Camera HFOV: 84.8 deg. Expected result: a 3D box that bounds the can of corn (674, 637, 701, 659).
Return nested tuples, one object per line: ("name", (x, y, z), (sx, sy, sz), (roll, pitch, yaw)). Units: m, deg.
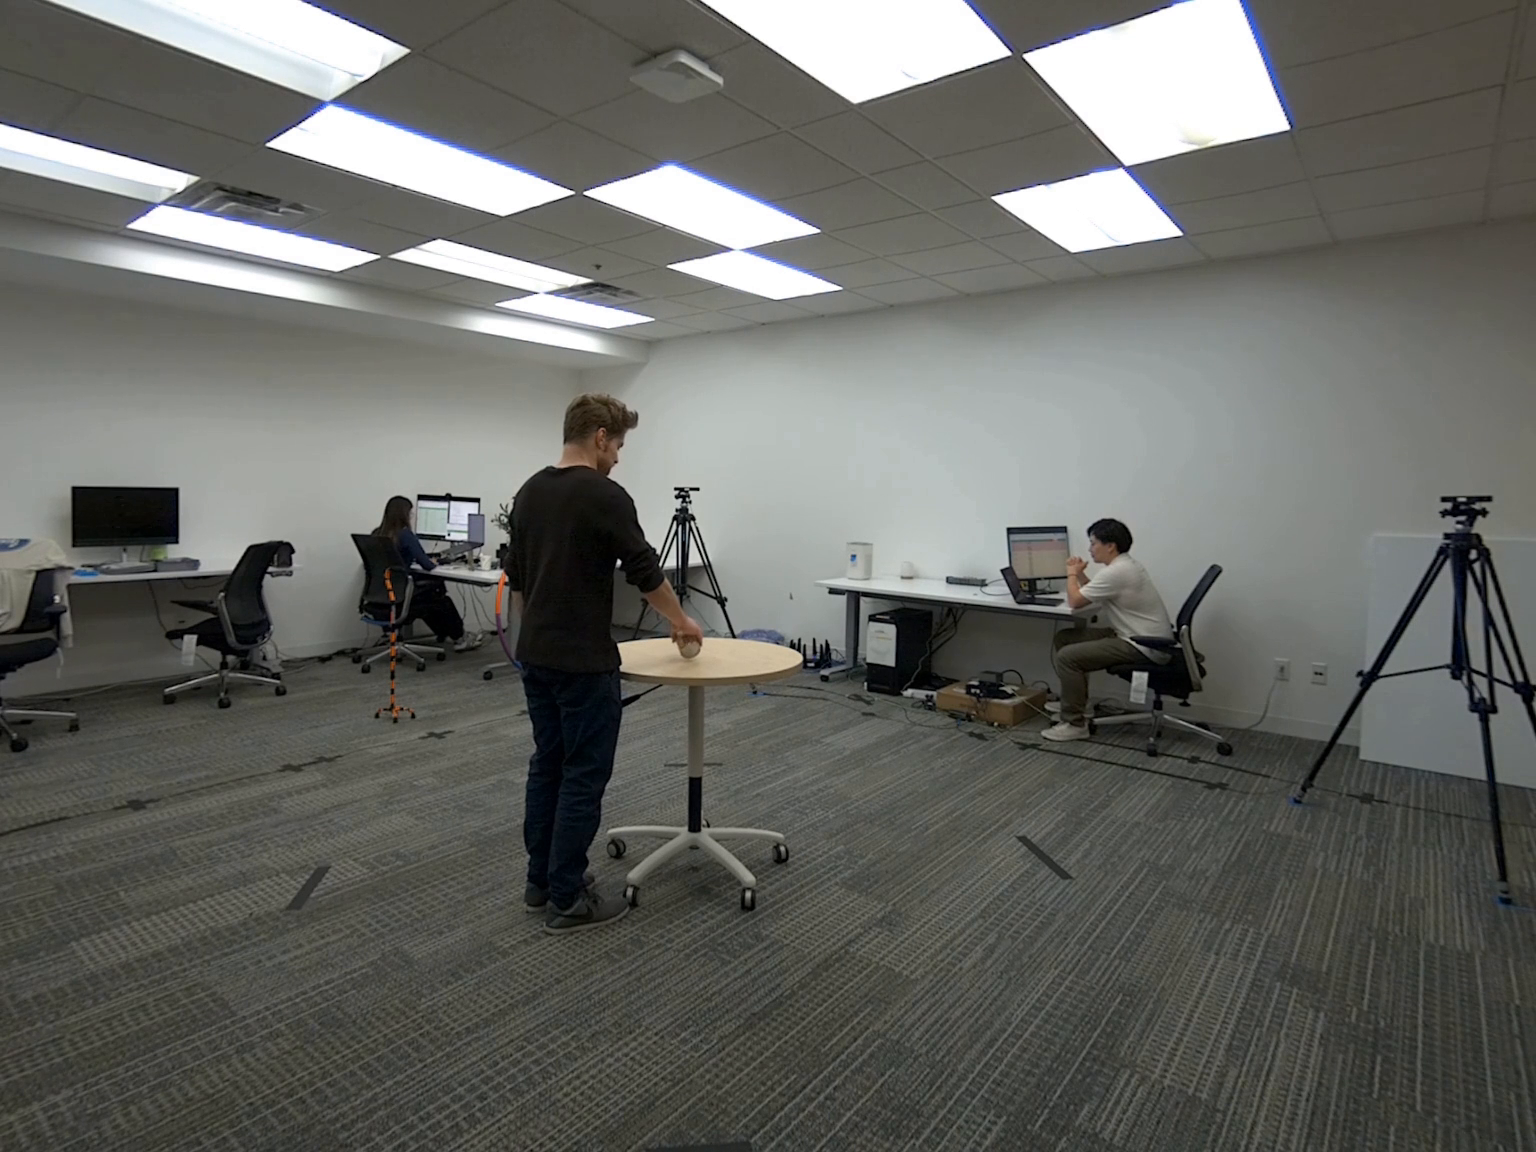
("can of corn", (-0.297, 0.228, 3.003), (0.073, 0.073, 0.115), (-1, 36, -17))
